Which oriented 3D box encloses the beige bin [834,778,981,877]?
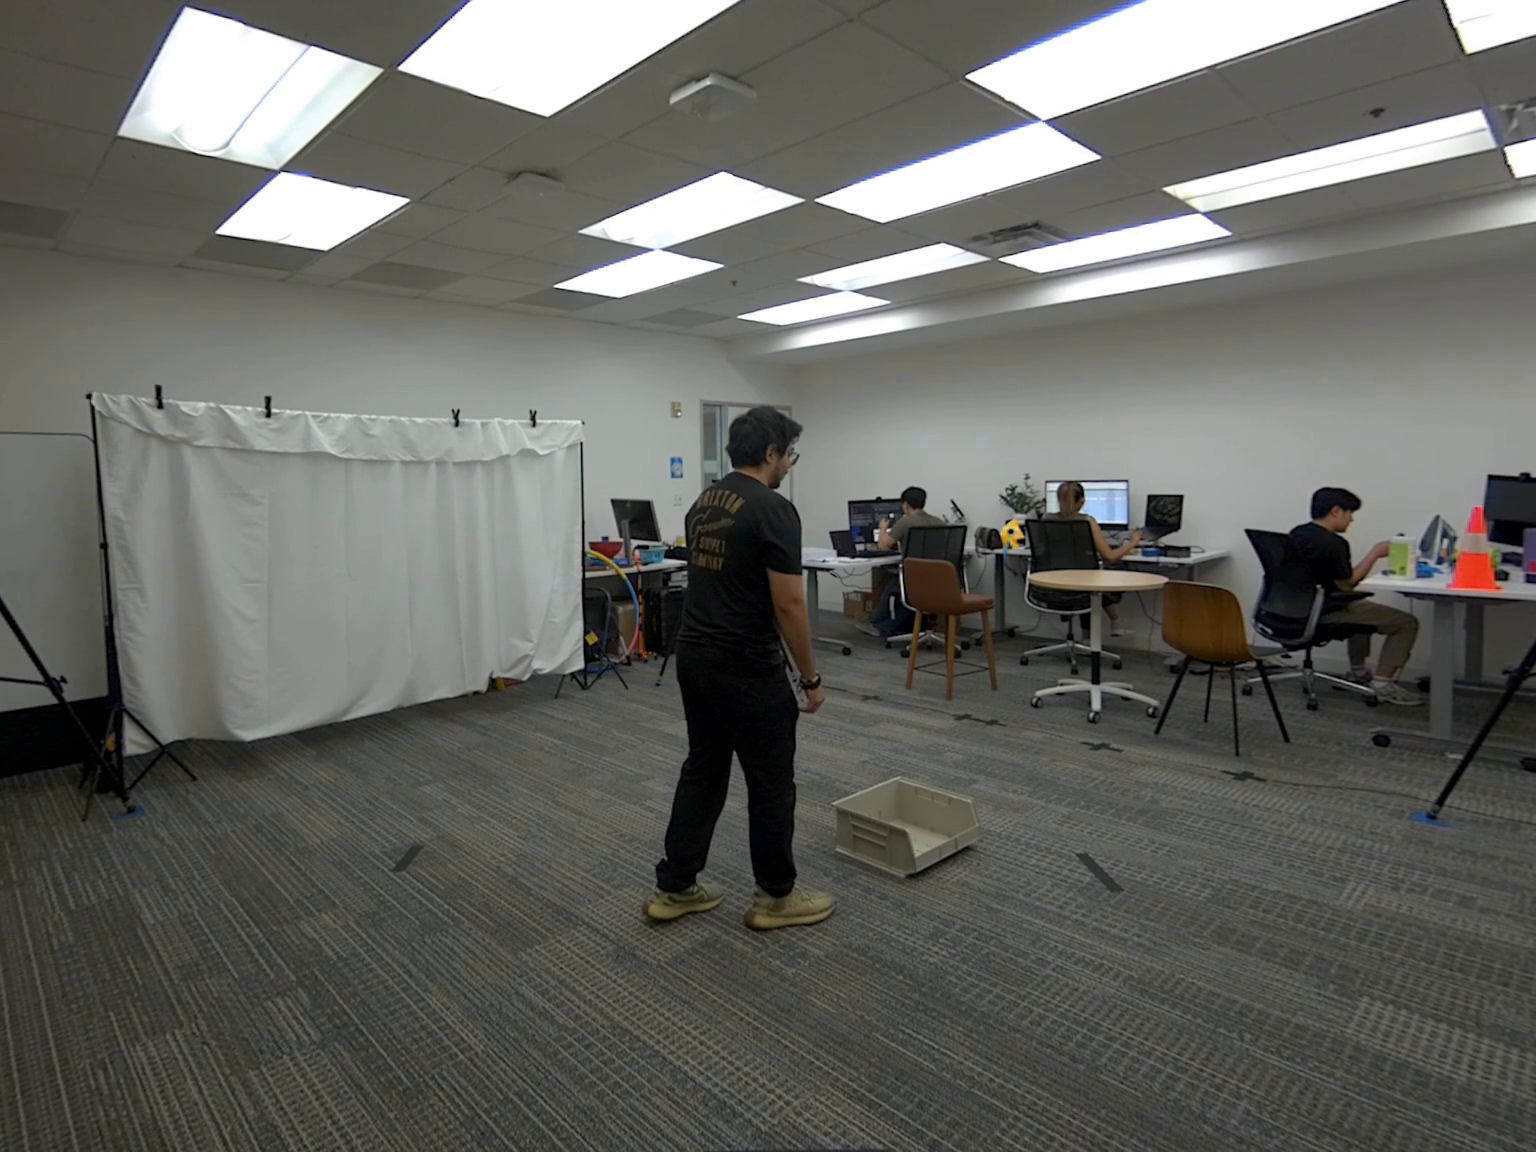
[{"bbox_3d":[0.524,0.940,3.208,0.411,0.188,0.389,-7,7,-43],"label":"beige bin"}]
